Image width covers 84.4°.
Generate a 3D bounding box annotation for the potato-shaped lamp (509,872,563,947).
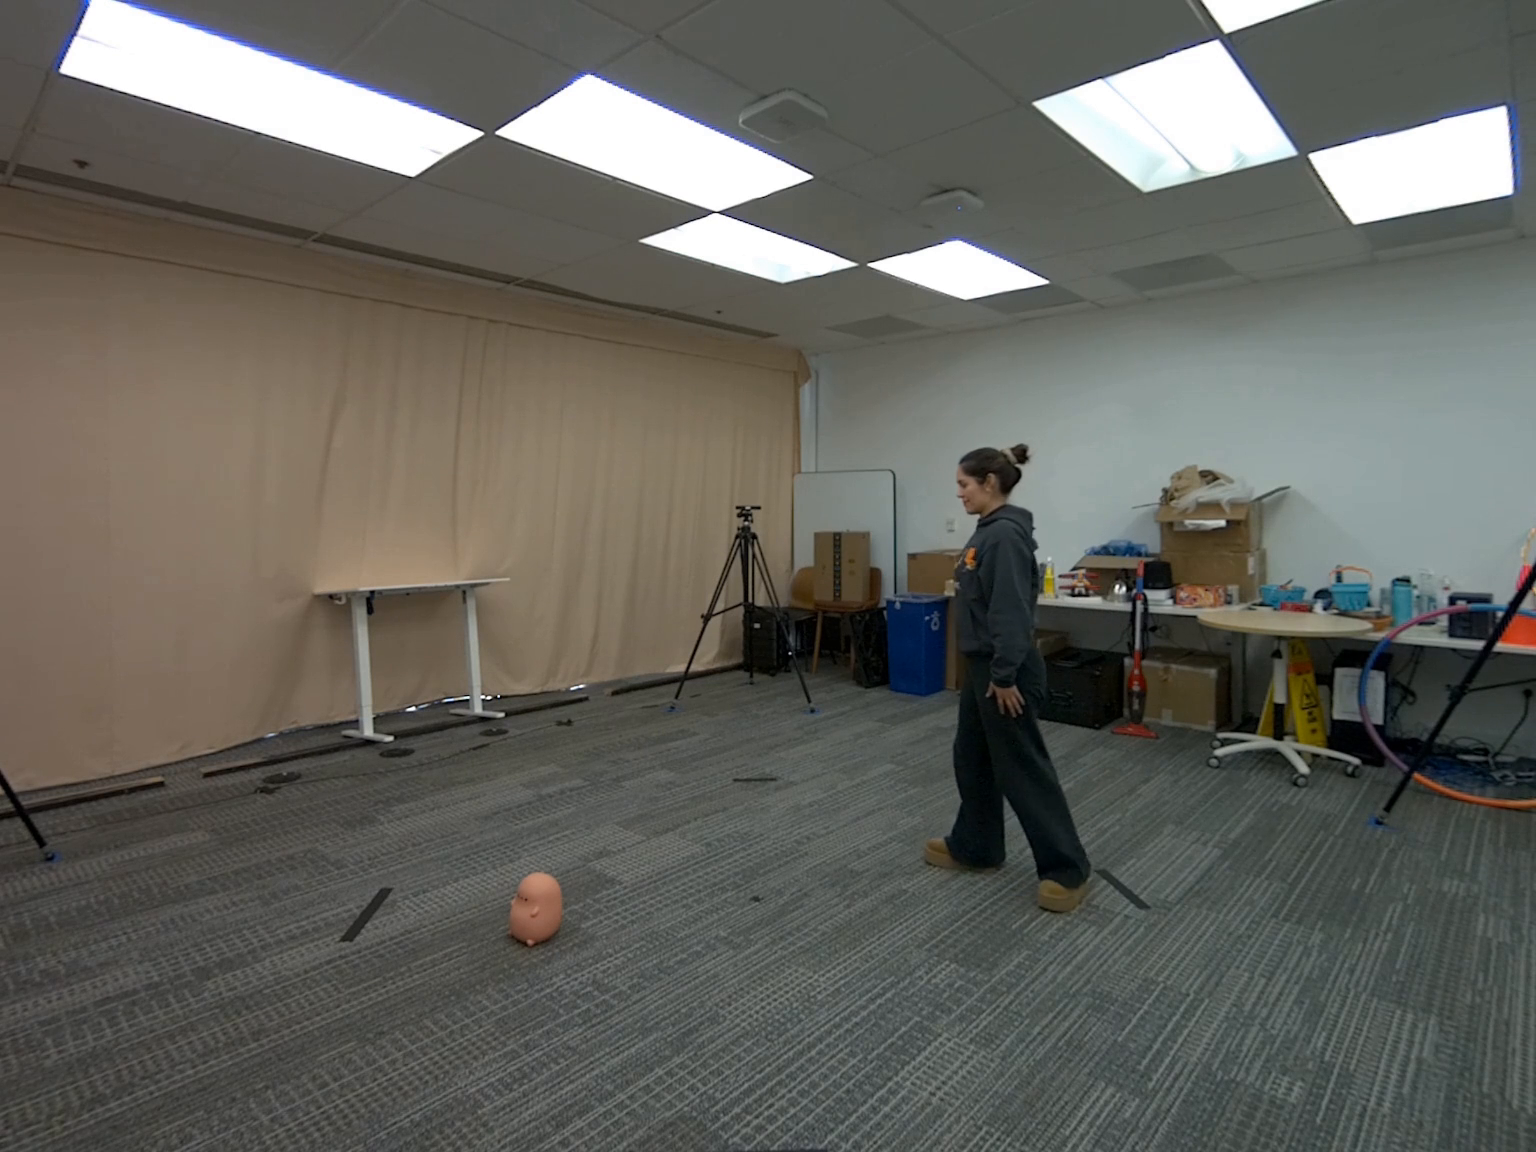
[{"bbox_3d":[-0.736,1.079,2.739,0.170,0.198,0.166,0,1,43],"label":"potato-shaped lamp"}]
